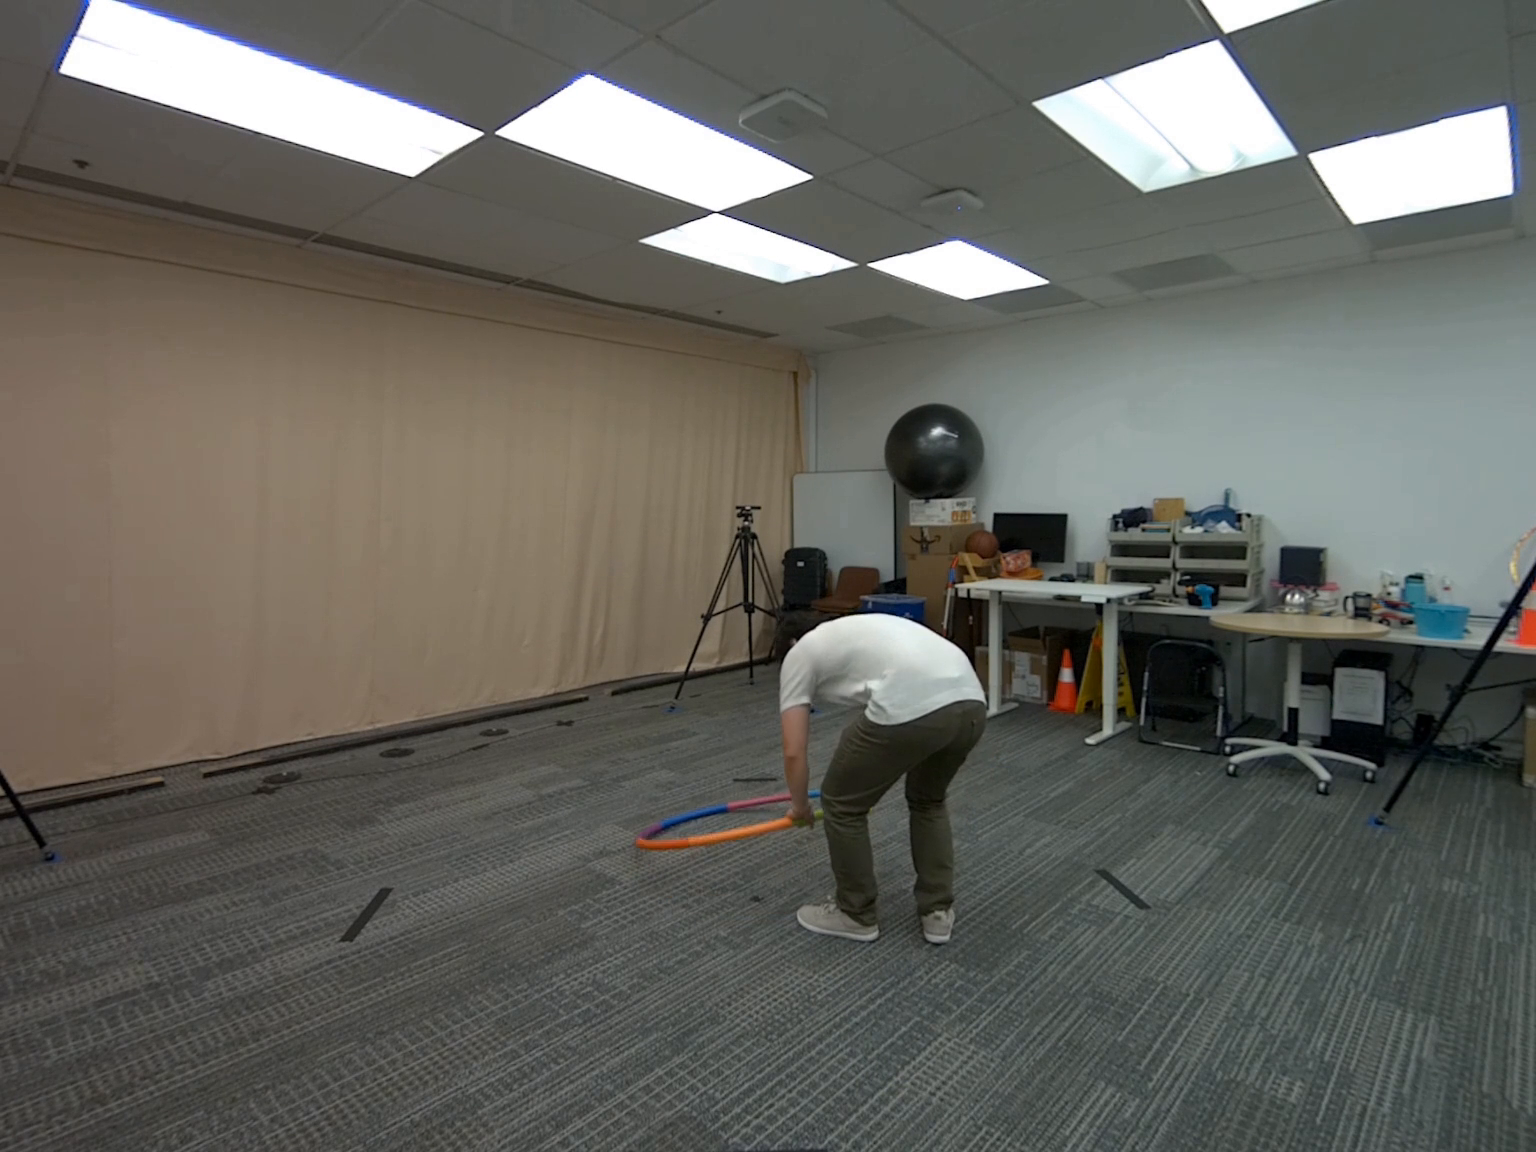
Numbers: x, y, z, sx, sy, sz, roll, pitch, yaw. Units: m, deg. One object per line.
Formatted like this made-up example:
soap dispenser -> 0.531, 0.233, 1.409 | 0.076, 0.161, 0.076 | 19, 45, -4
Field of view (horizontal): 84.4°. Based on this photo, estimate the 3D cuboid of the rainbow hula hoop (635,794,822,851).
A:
rainbow hula hoop -> -0.060, 0.945, 3.379 | 0.976, 0.036, 0.973 | -10, -9, -4
